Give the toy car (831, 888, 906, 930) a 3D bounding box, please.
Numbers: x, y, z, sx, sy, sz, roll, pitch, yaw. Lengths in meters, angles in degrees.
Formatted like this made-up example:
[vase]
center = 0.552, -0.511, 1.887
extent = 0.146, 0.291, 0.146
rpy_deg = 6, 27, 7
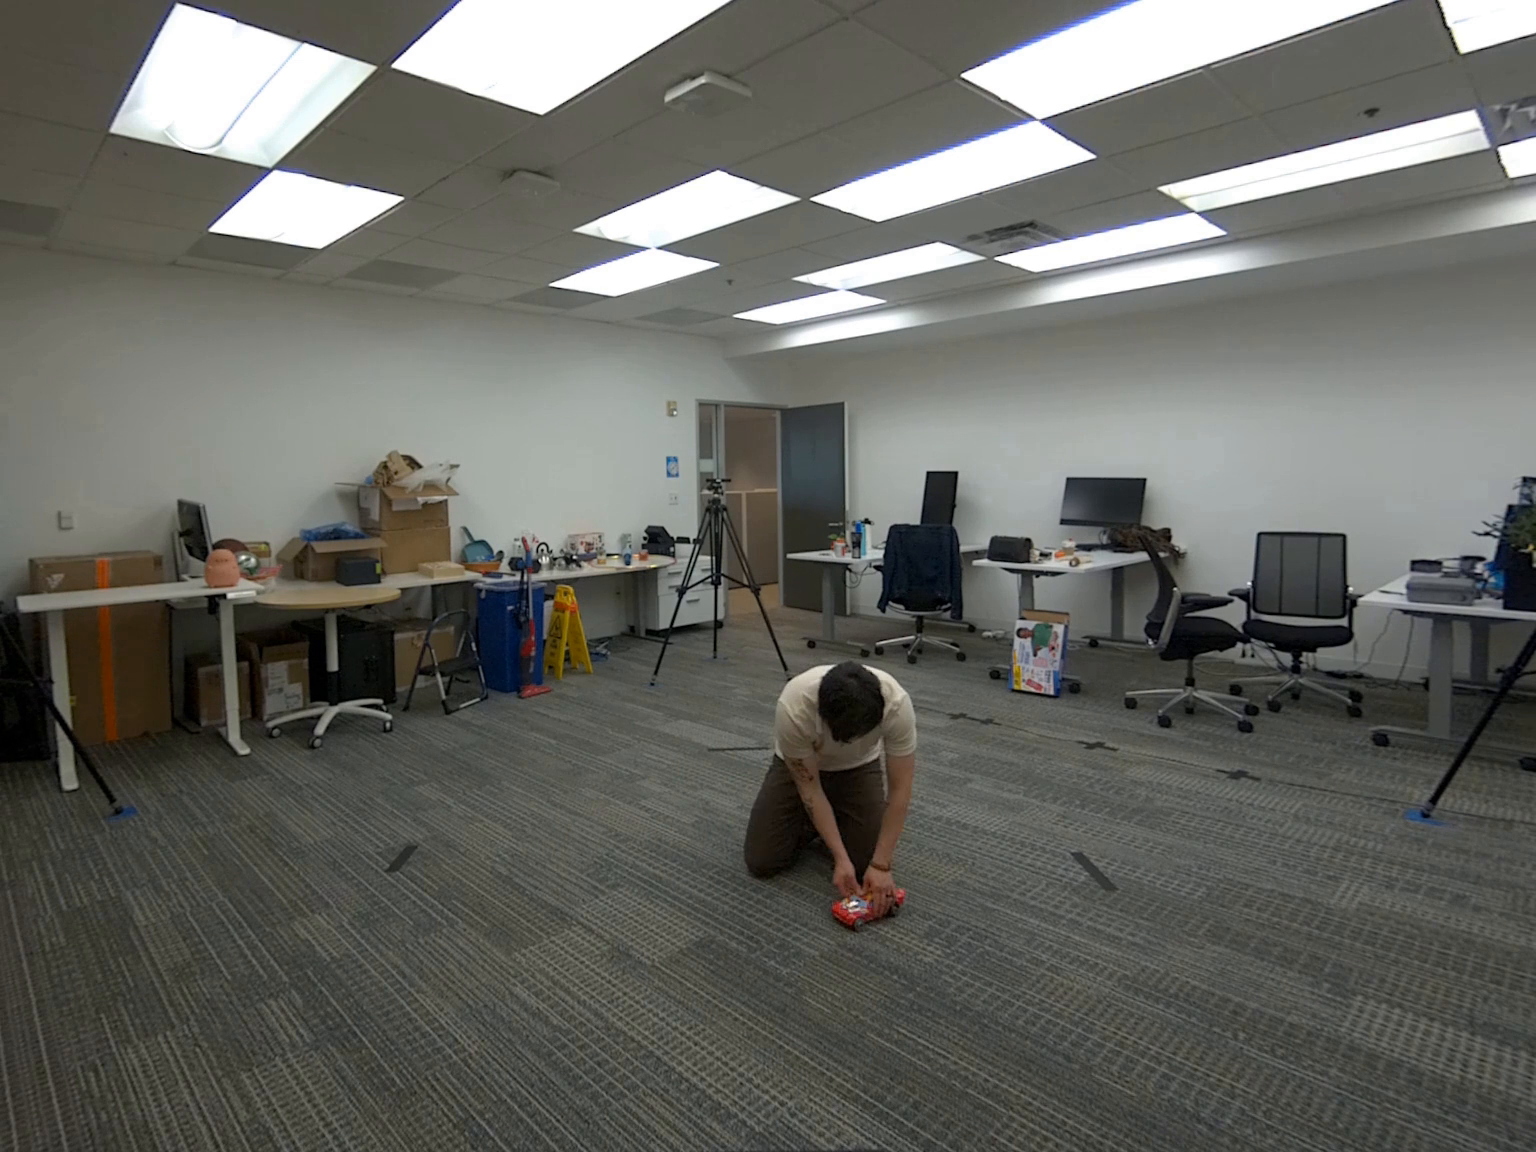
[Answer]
[toy car]
center = 0.326, 1.054, 2.728
extent = 0.250, 0.082, 0.134
rpy_deg = -17, 14, -31
